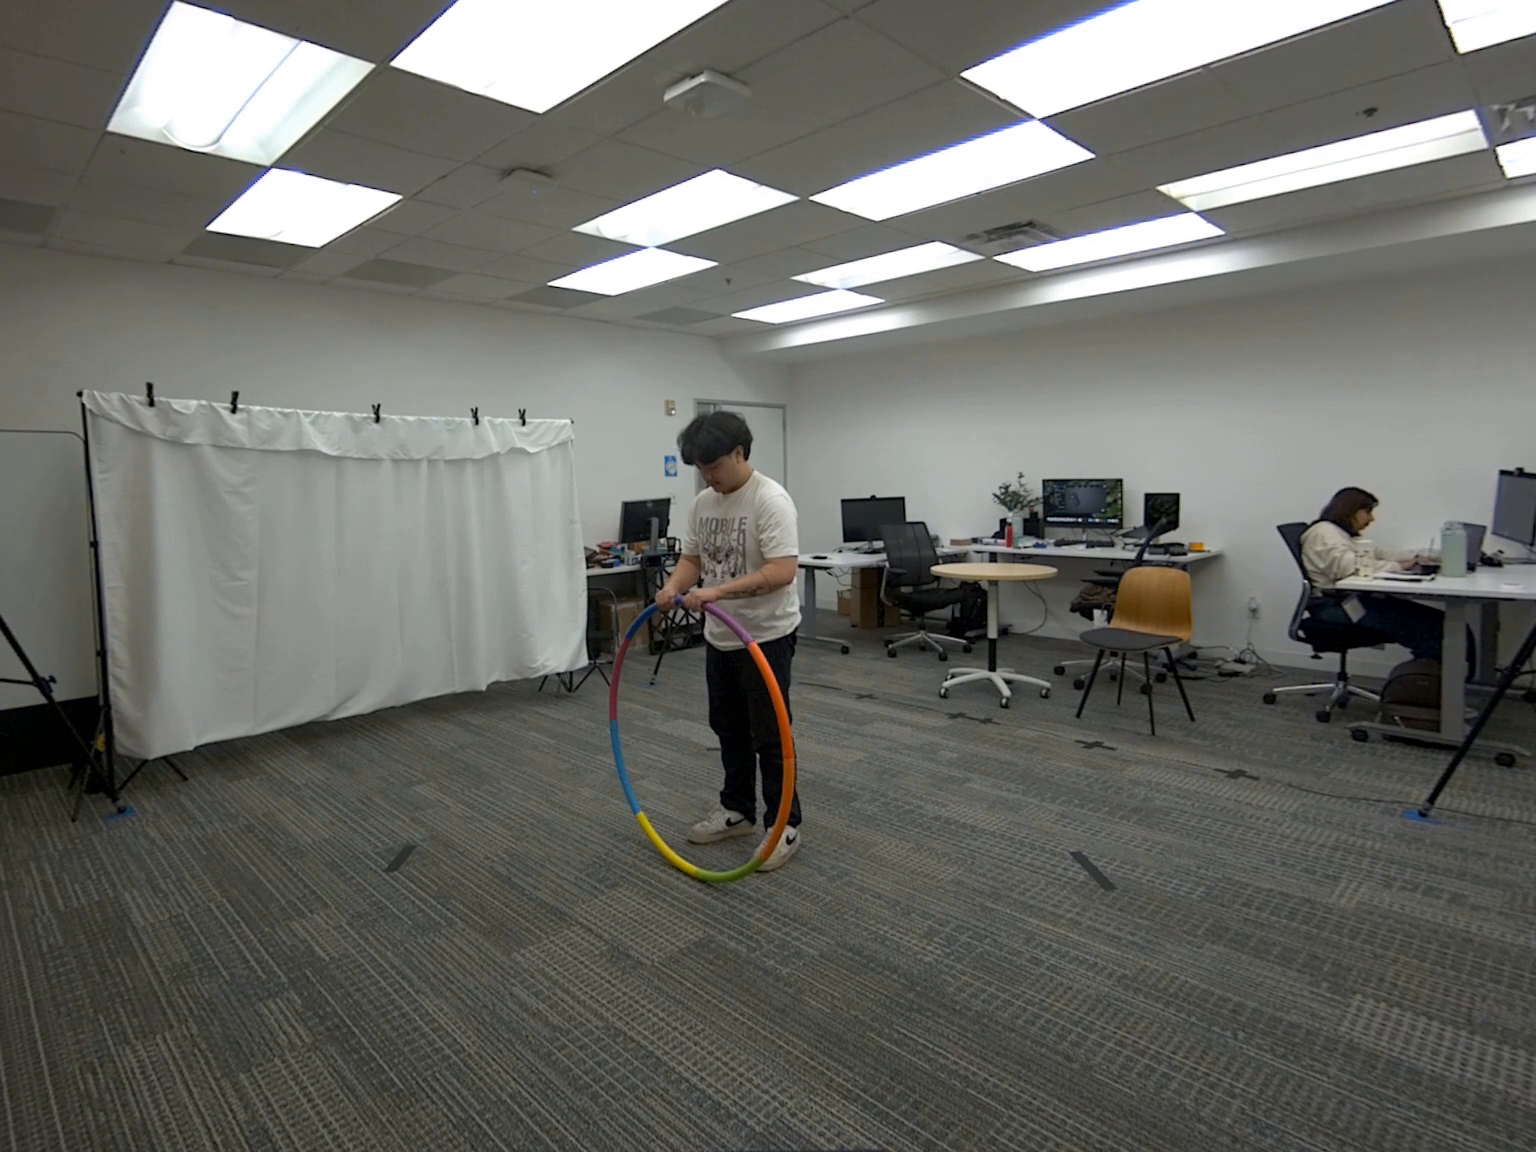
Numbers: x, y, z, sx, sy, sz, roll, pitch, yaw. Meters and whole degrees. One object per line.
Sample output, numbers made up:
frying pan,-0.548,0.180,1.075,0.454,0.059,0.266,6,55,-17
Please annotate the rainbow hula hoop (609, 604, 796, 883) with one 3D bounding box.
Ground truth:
rainbow hula hoop,-0.270,0.565,2.987,0.050,0.982,1.016,-3,5,-43
